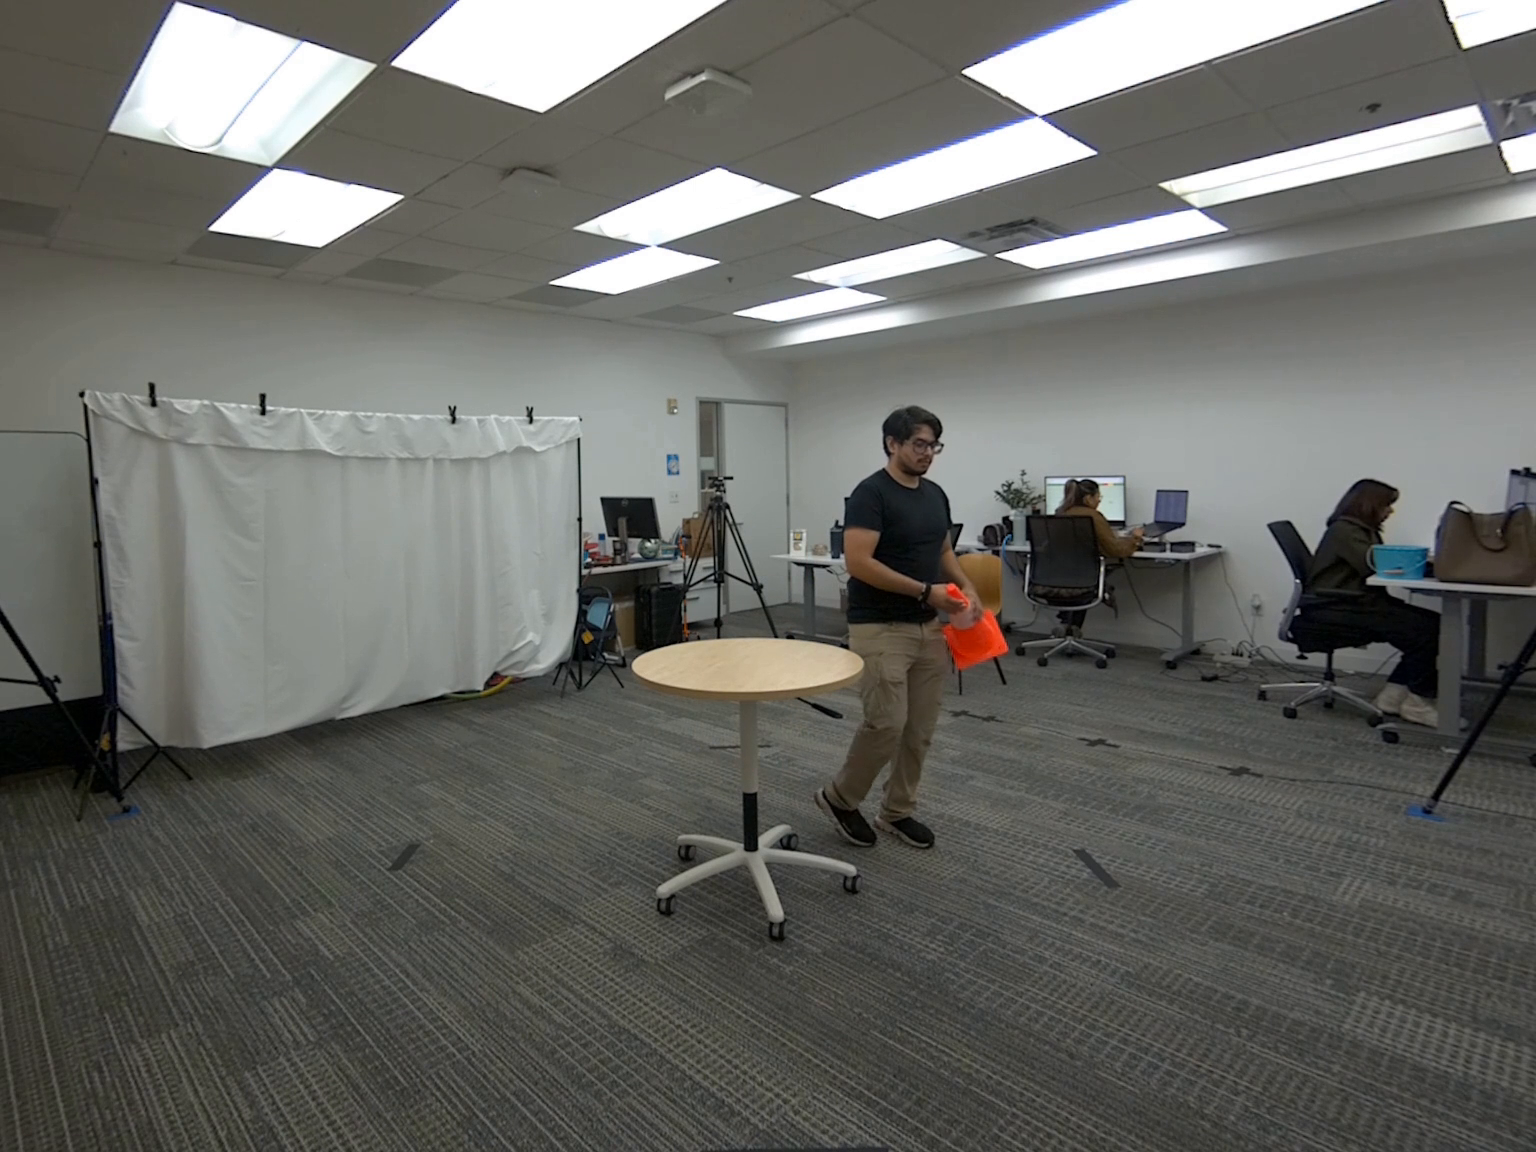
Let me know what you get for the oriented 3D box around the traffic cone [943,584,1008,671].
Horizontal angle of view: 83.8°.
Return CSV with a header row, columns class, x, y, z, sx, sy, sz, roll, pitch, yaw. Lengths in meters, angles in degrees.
class,x,y,z,sx,sy,sz,roll,pitch,yaw
traffic cone,0.703,0.142,3.113,0.205,0.211,0.369,-20,-40,16
